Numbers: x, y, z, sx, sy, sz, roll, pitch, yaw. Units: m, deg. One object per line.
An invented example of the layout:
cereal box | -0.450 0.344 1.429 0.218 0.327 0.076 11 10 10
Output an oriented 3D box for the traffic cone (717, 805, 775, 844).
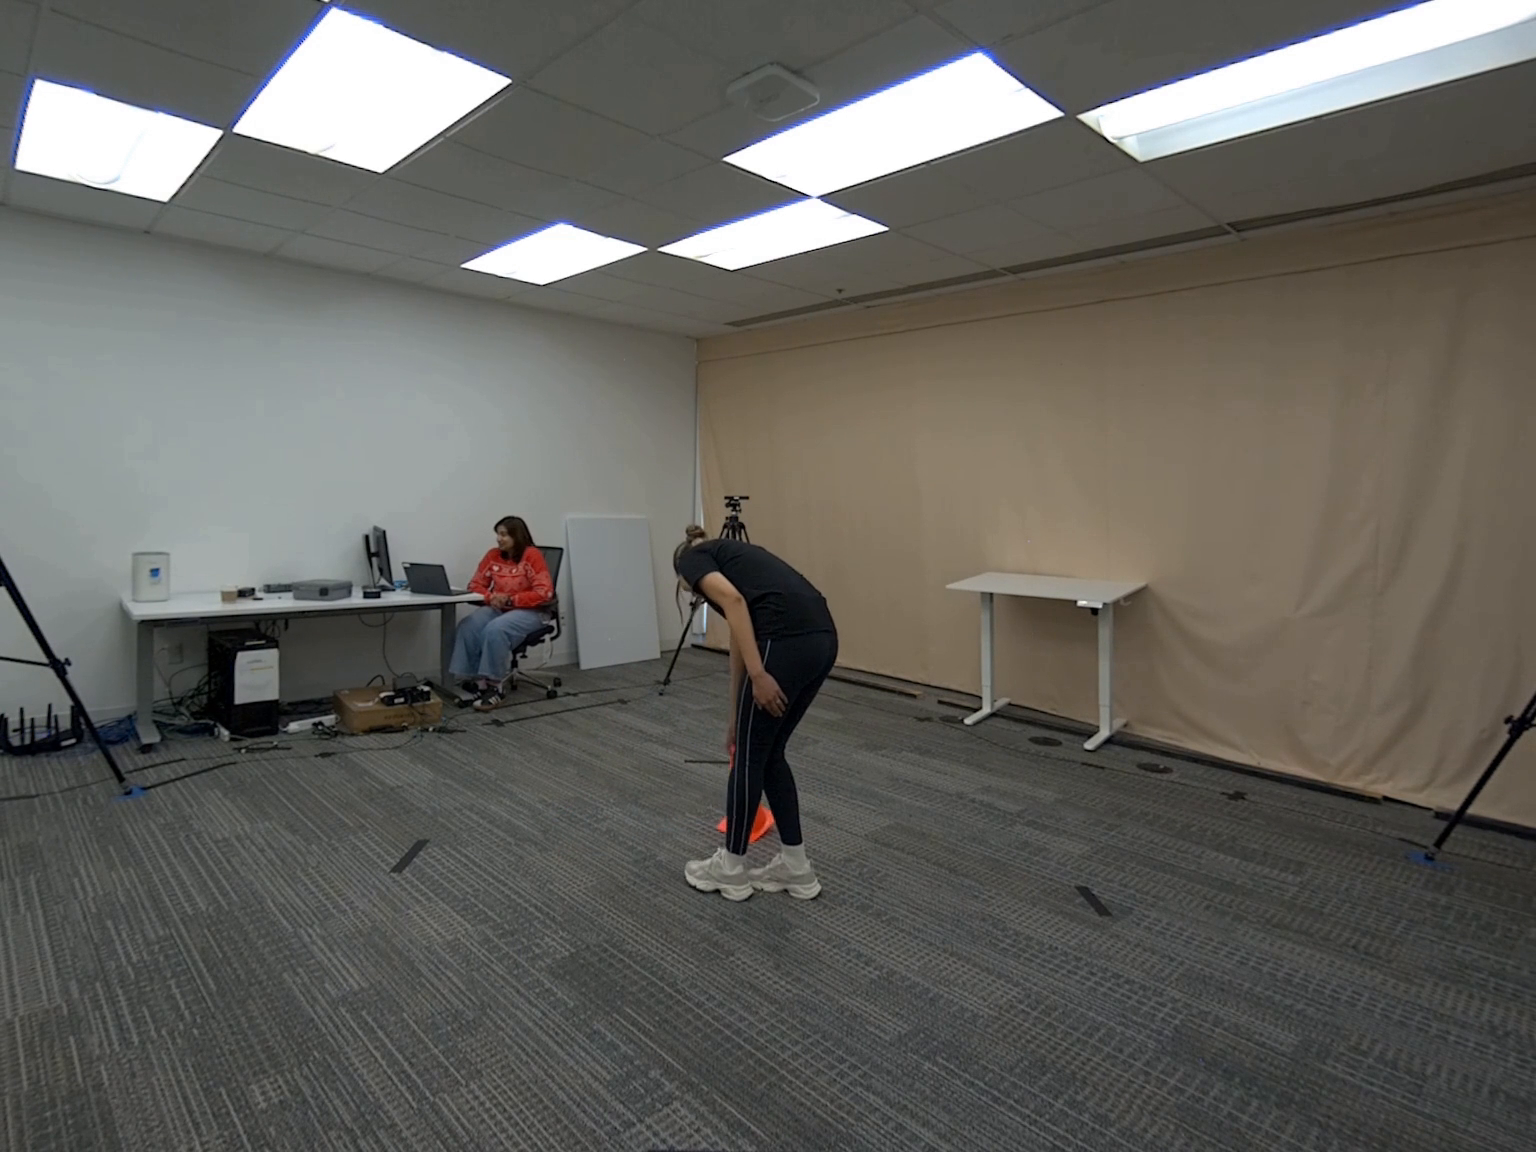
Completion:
traffic cone | -0.123 0.873 3.465 0.208 0.377 0.203 7 25 37
